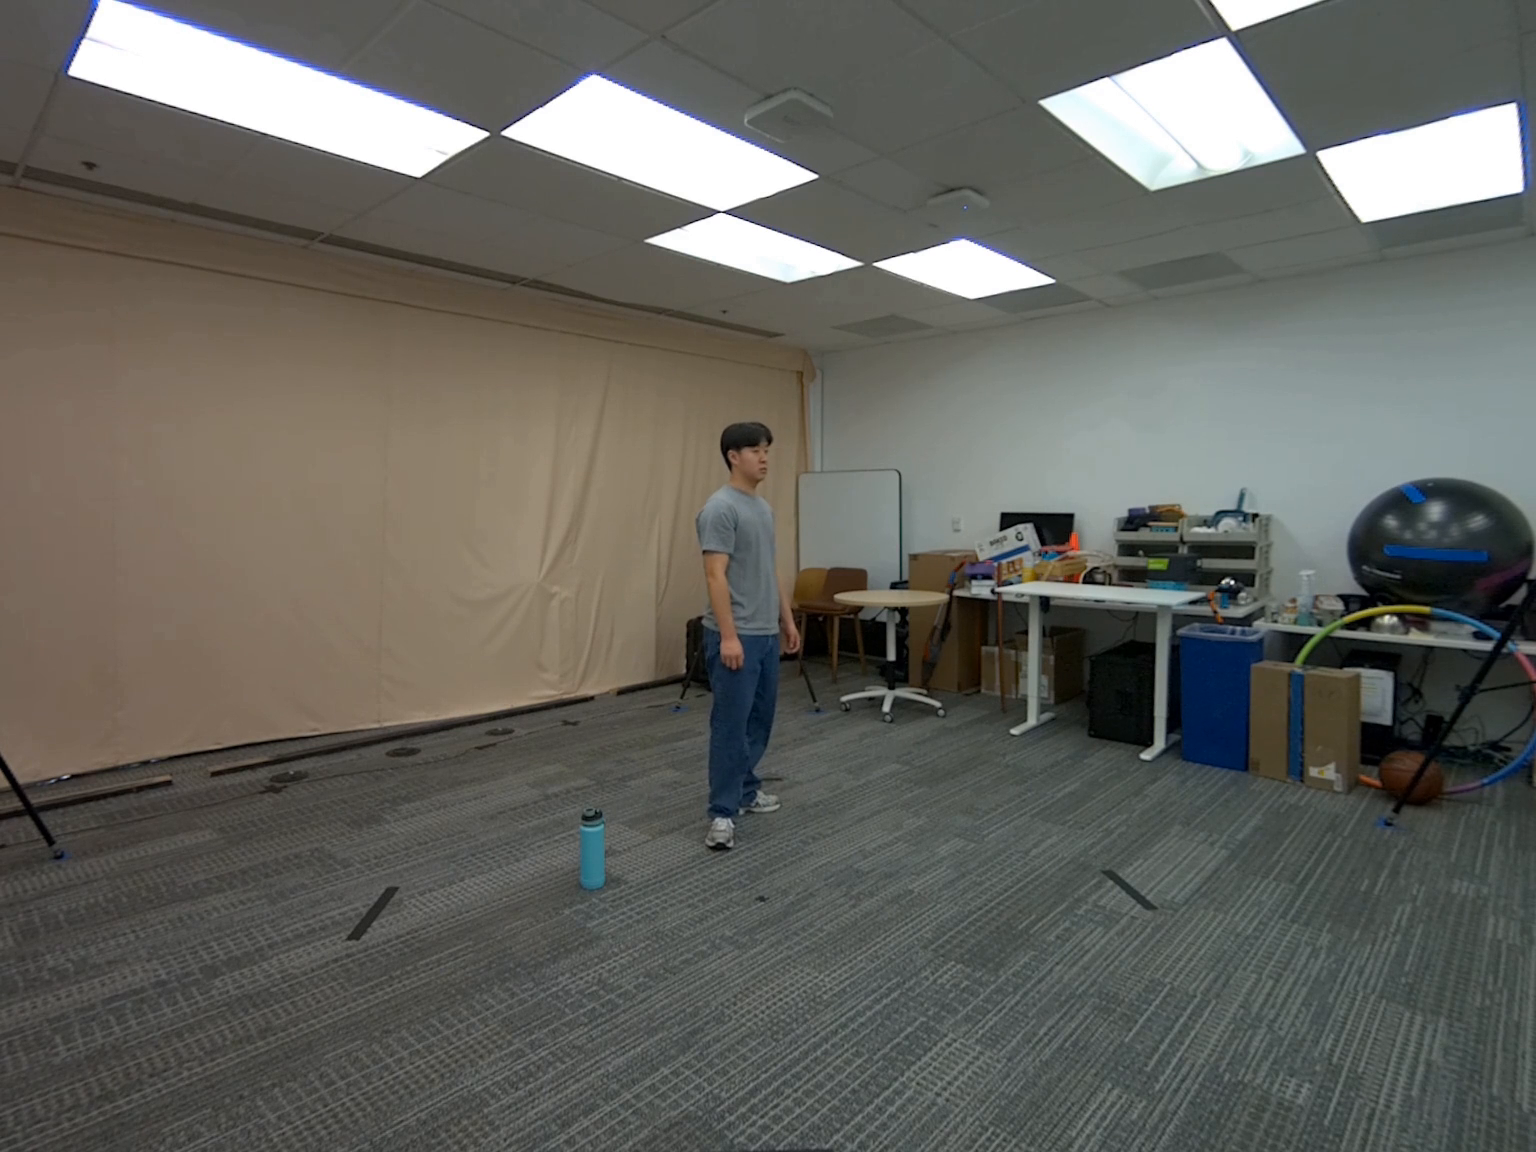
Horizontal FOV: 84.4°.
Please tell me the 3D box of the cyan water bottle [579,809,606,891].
[{"bbox_3d":[-0.650,1.002,3.103,0.092,0.283,0.092,1,1,-2],"label":"cyan water bottle"}]
